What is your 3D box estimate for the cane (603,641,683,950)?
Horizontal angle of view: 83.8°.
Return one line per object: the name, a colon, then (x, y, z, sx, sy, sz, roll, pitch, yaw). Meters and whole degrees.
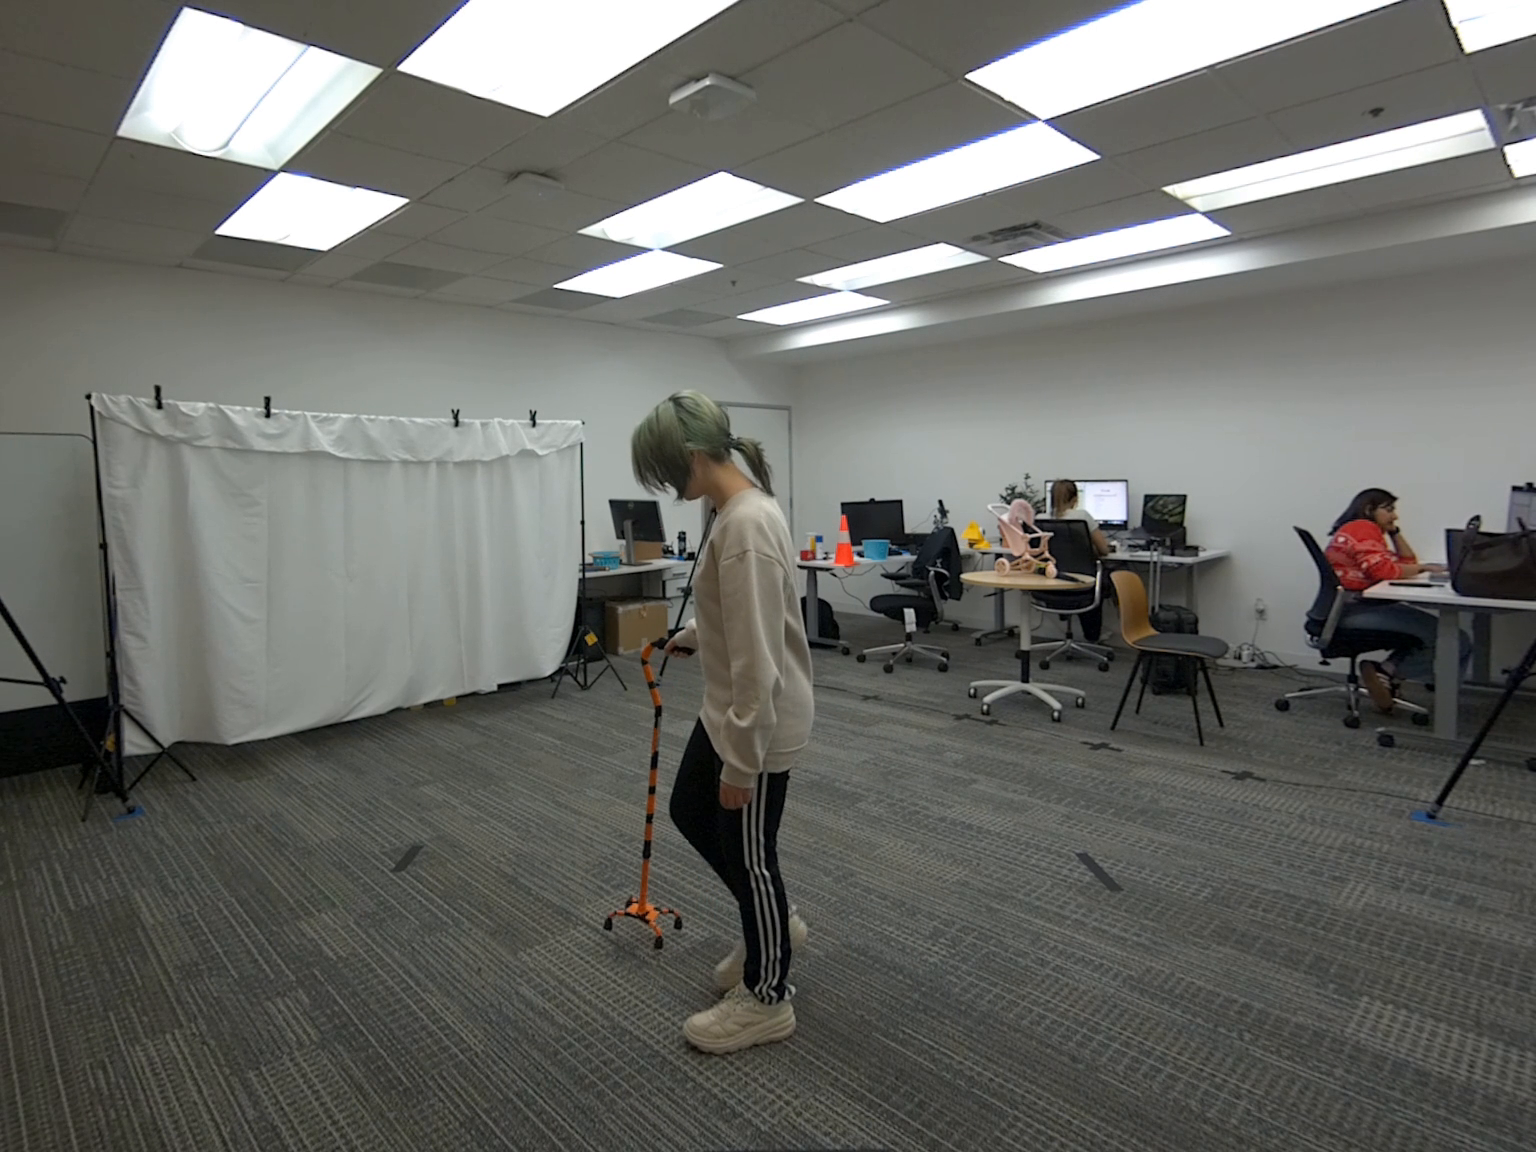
cane: (-0.334, 0.636, 2.561, 0.211, 0.903, 0.149, 8, 7, 22)
